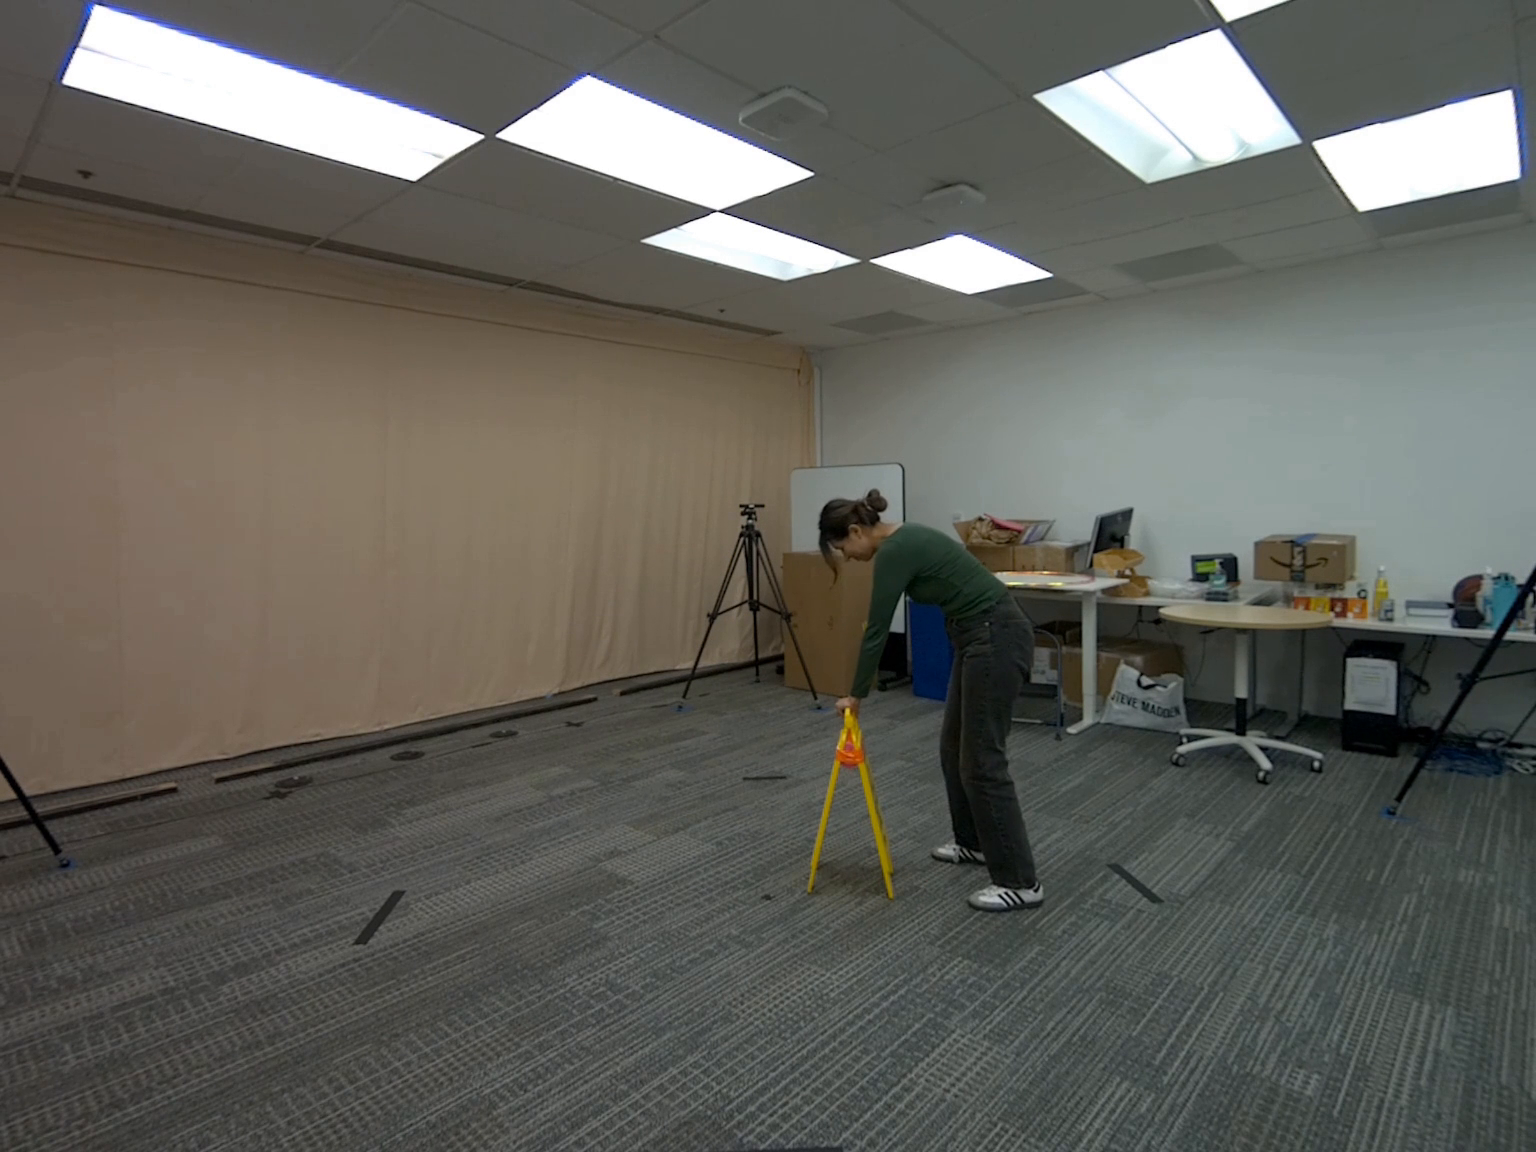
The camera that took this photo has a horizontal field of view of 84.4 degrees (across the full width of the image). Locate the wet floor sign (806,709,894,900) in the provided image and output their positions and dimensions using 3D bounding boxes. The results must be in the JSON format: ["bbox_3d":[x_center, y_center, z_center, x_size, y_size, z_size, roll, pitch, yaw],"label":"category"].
[{"bbox_3d":[0.302,0.805,3.098,0.293,0.646,0.279,-2,1,9],"label":"wet floor sign"}]
